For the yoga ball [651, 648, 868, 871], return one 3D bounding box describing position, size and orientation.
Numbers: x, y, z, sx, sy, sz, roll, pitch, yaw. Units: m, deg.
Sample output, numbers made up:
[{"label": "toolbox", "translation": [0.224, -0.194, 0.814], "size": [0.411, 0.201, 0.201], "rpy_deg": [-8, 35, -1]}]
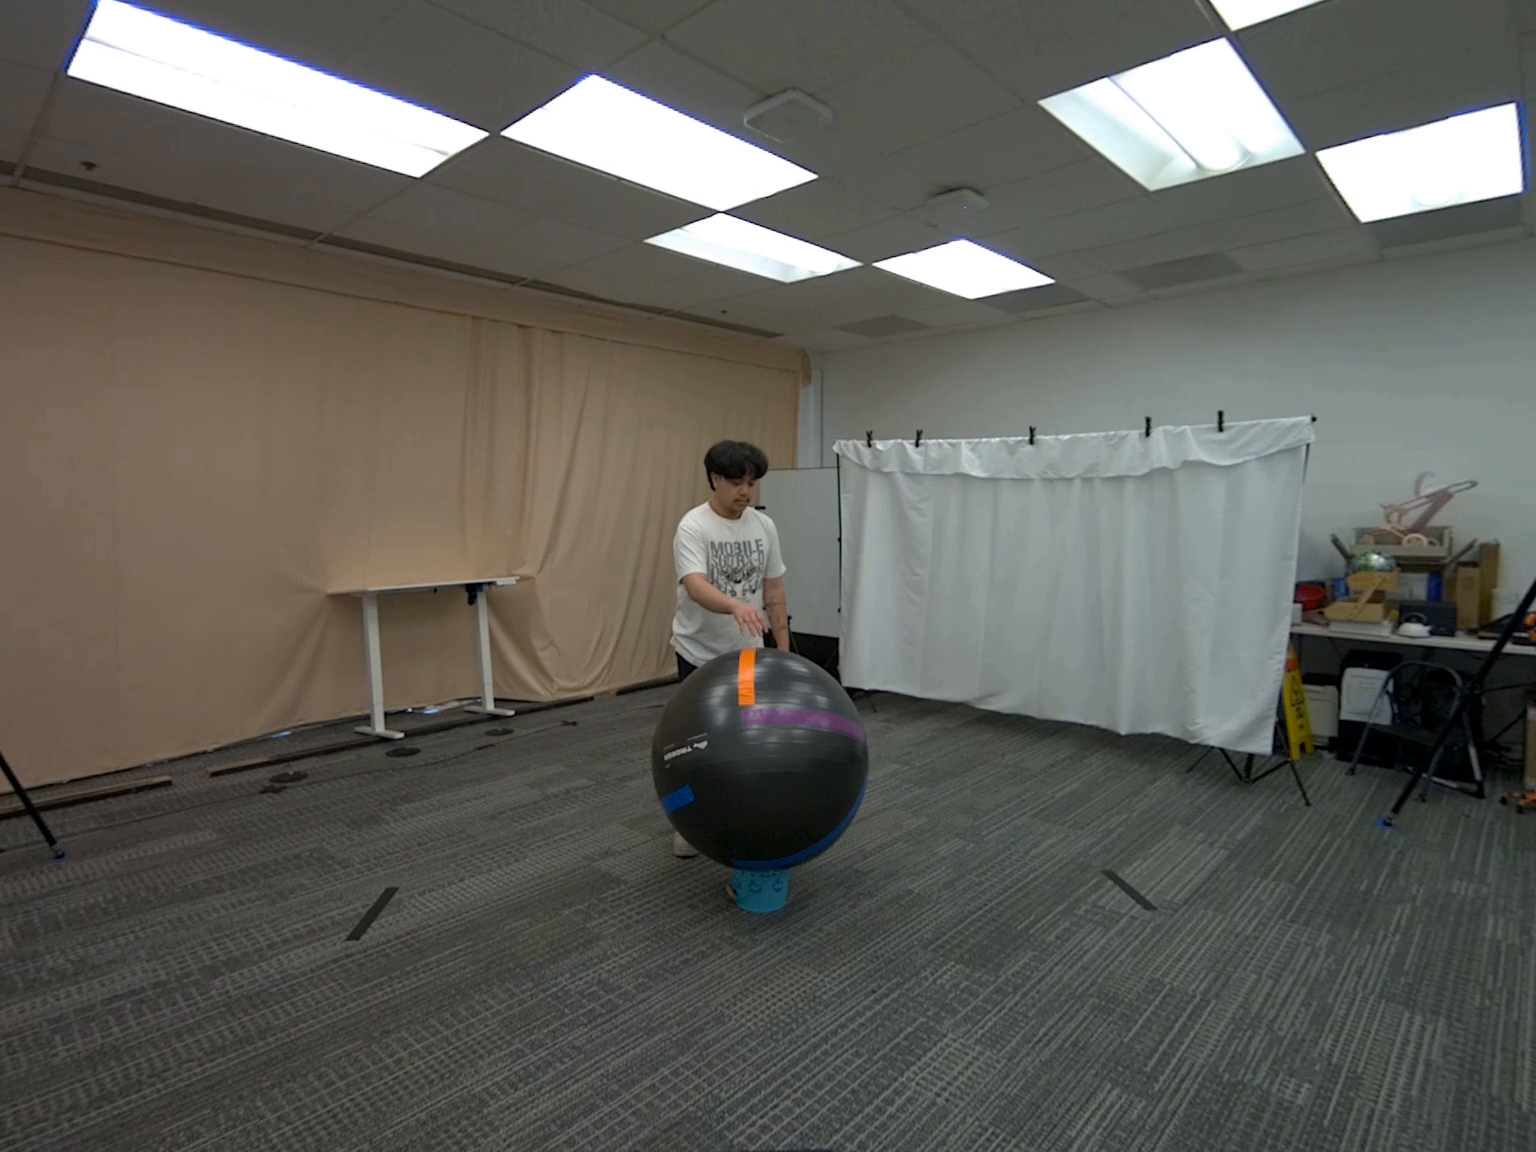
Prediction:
[{"label": "yoga ball", "translation": [-0.033, 0.639, 2.948], "size": [0.757, 0.756, 0.761], "rpy_deg": [0, 4, -2]}]
